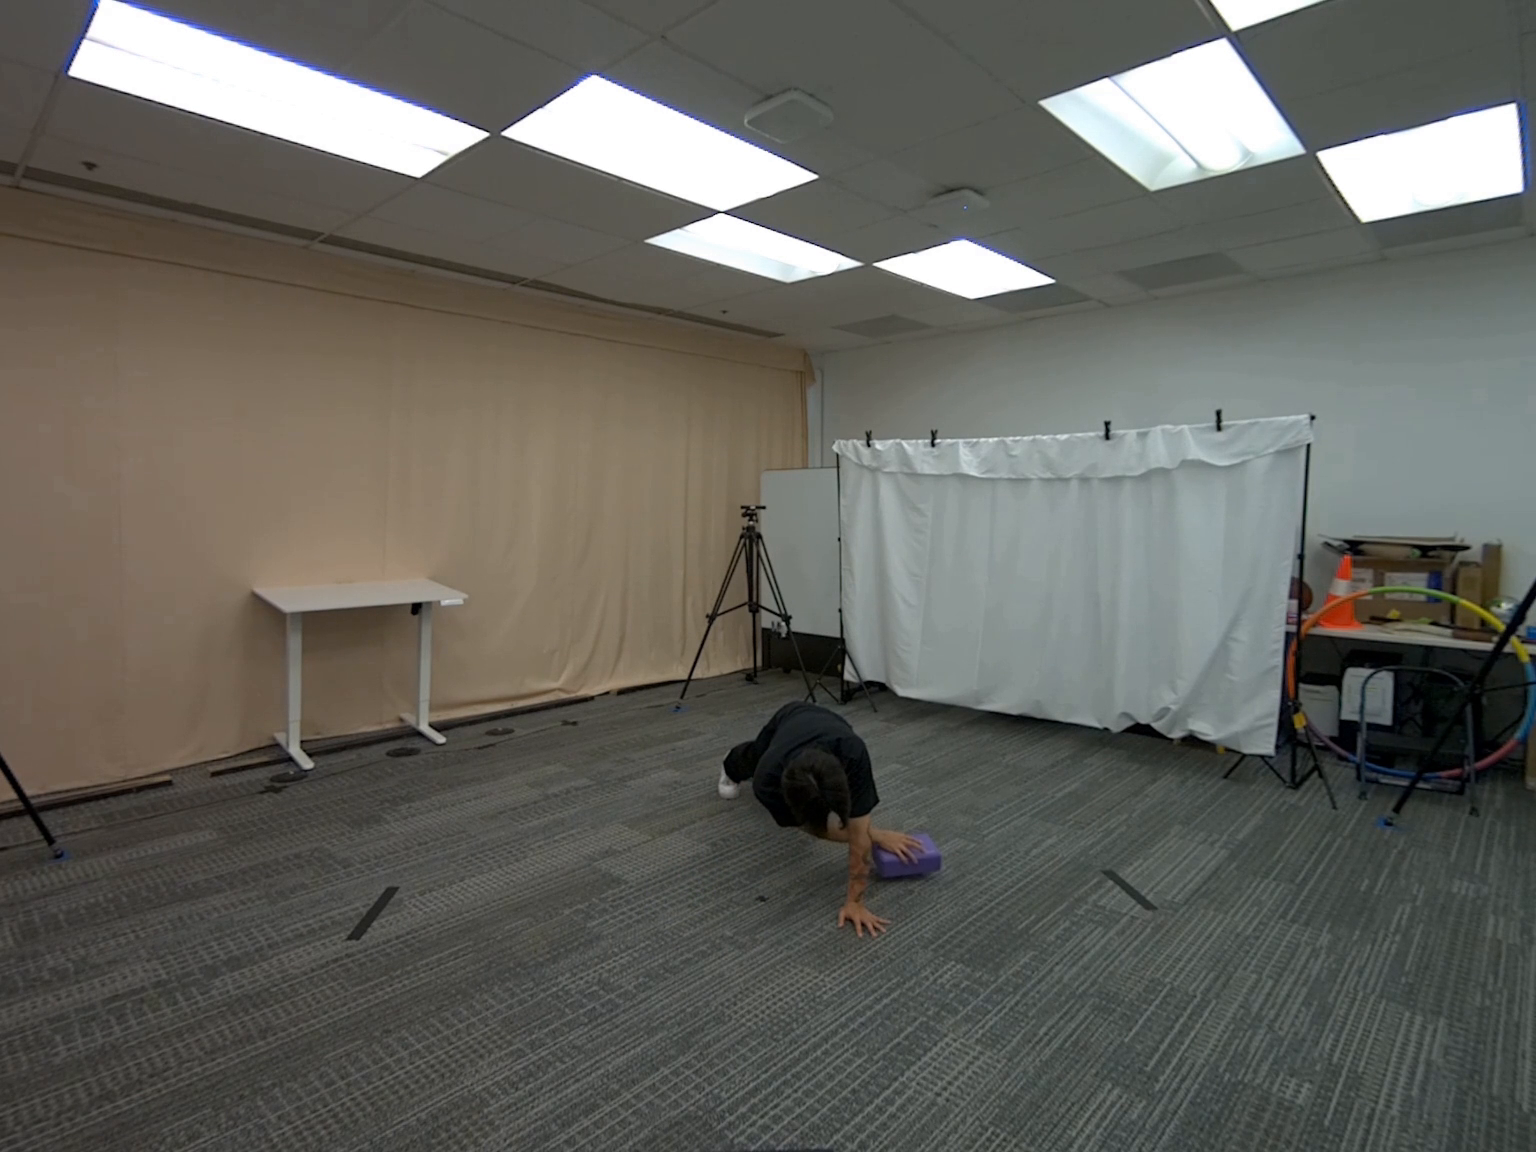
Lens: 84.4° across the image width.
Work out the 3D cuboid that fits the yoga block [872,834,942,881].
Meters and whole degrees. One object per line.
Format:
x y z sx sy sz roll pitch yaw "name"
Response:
0.520 1.057 3.160 0.228 0.076 0.151 -3 15 -6 "yoga block"
